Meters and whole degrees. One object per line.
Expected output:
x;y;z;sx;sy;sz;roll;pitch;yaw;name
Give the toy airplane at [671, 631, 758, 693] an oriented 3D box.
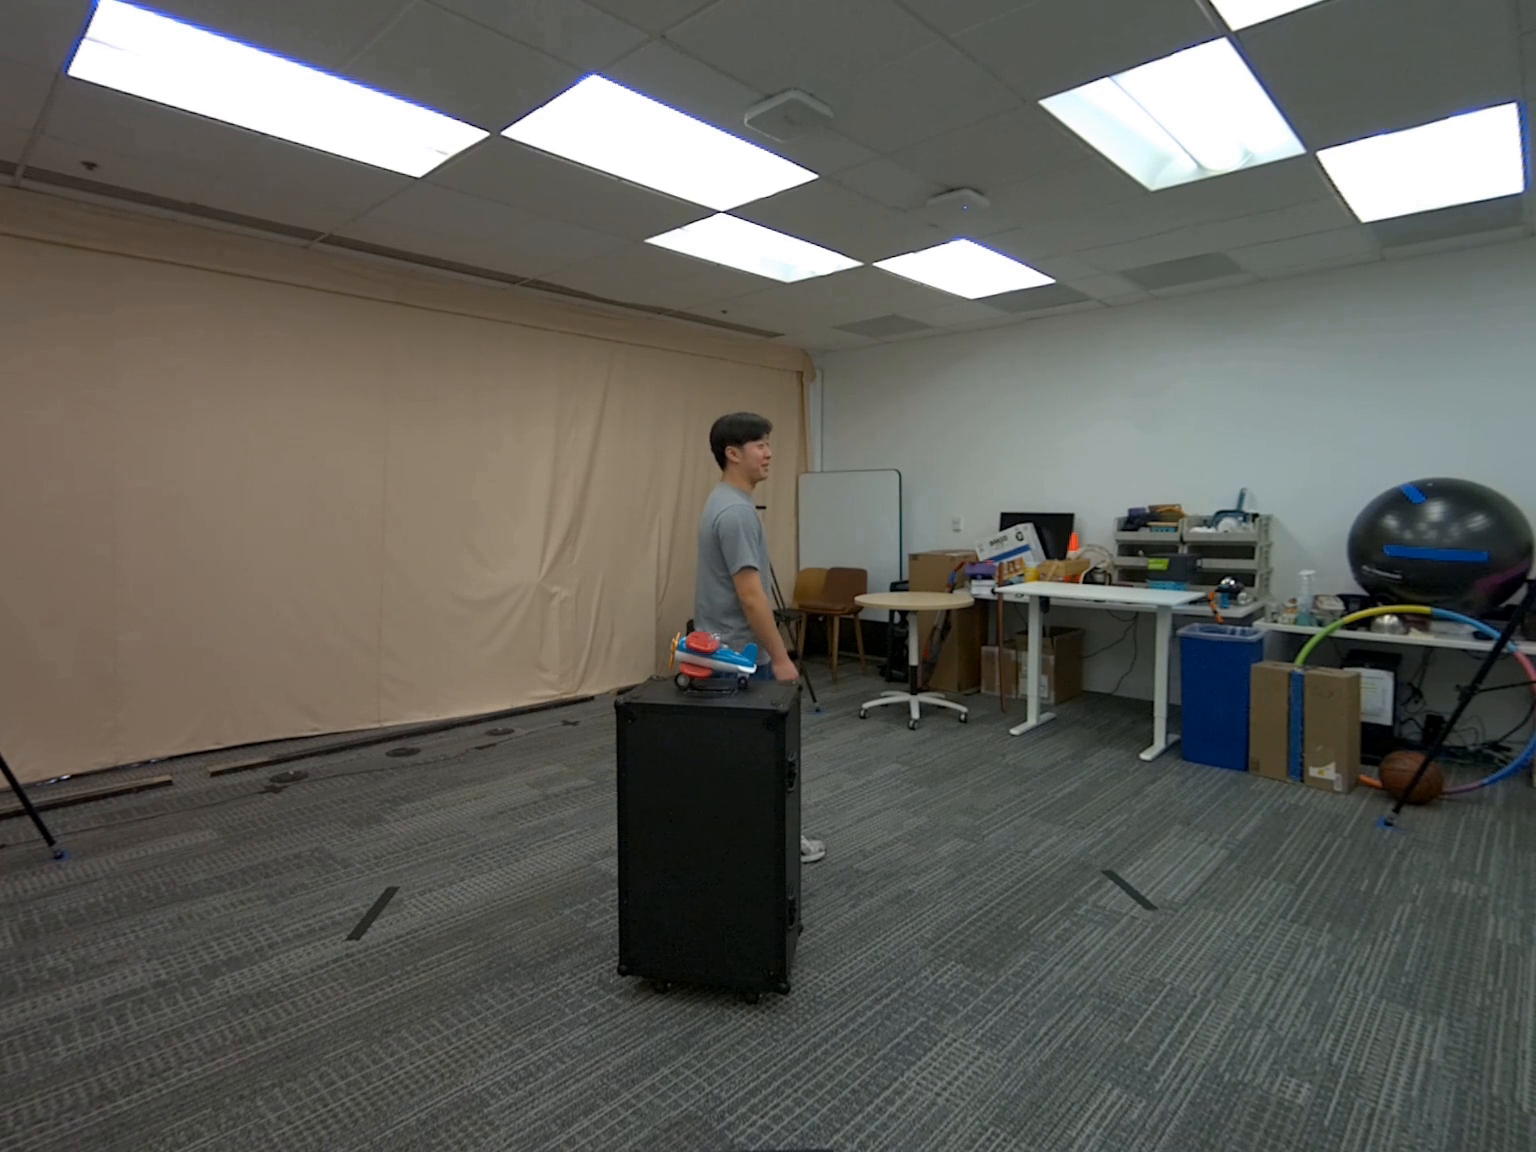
-0.168;0.250;2.551;0.253;0.156;0.257;-4;4;-24;toy airplane
